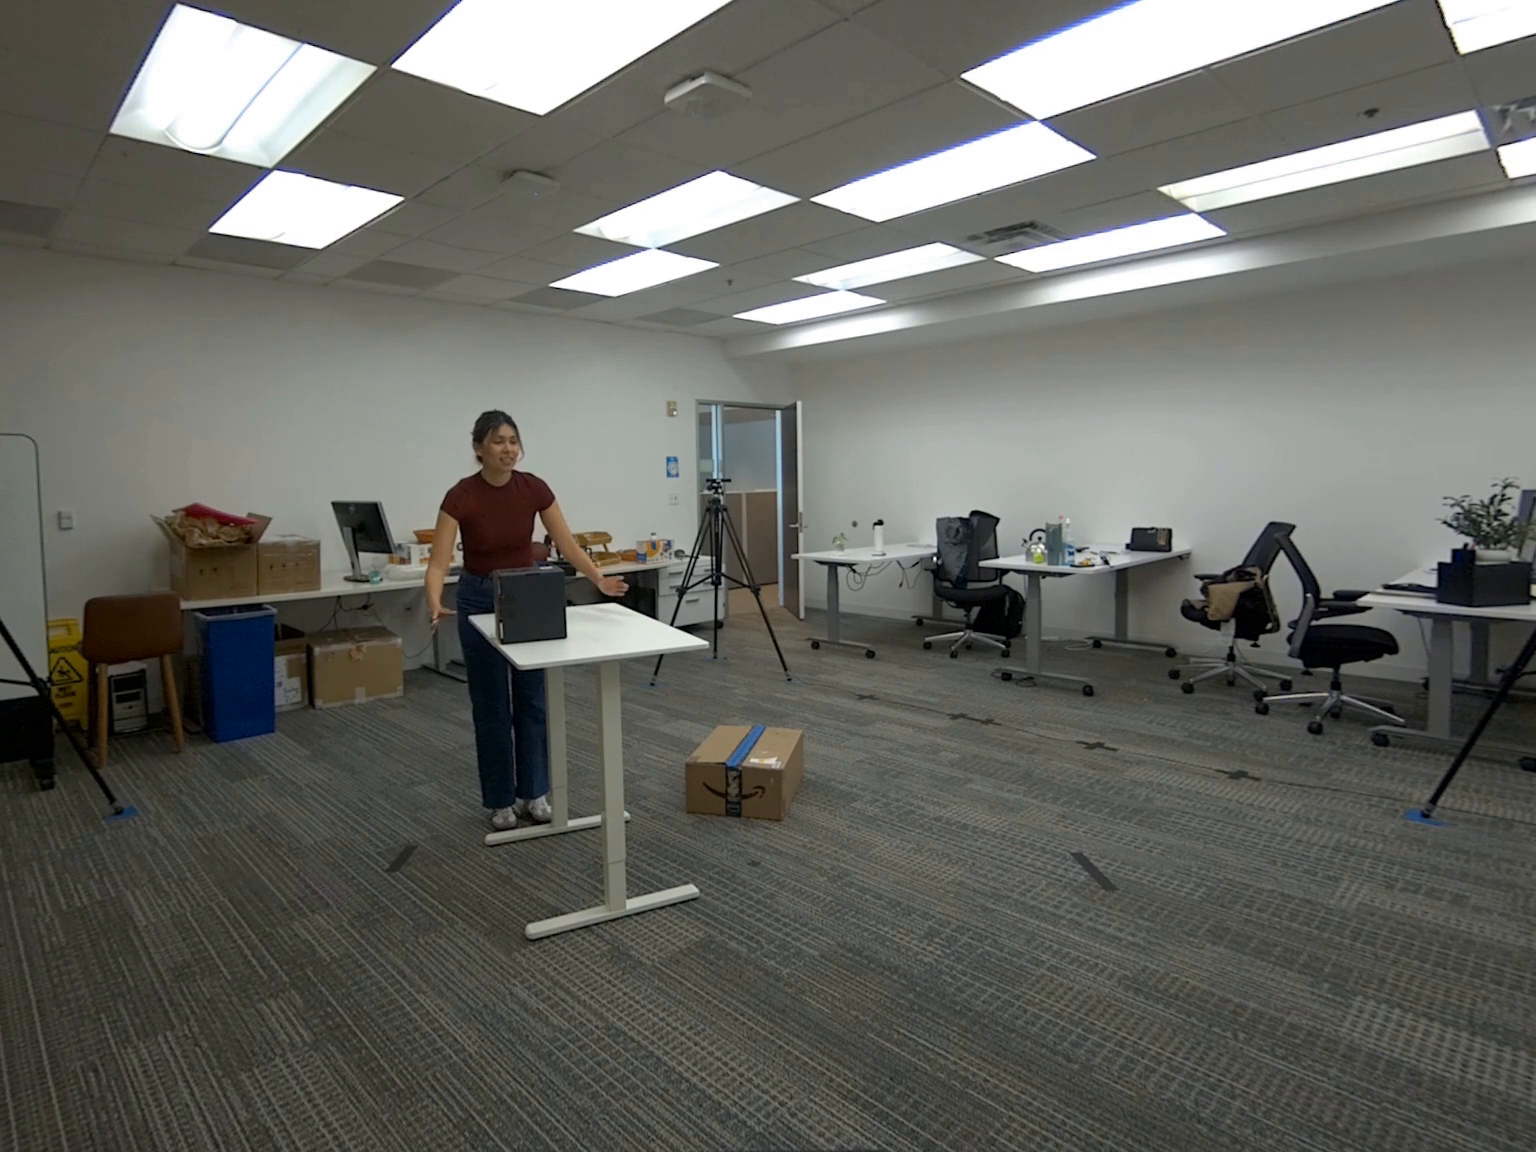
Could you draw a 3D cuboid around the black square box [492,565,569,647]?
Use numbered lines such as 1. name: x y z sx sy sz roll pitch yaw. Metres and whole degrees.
1. black square box: -0.799 0.093 2.858 0.213 0.227 0.160 -6 6 -24
